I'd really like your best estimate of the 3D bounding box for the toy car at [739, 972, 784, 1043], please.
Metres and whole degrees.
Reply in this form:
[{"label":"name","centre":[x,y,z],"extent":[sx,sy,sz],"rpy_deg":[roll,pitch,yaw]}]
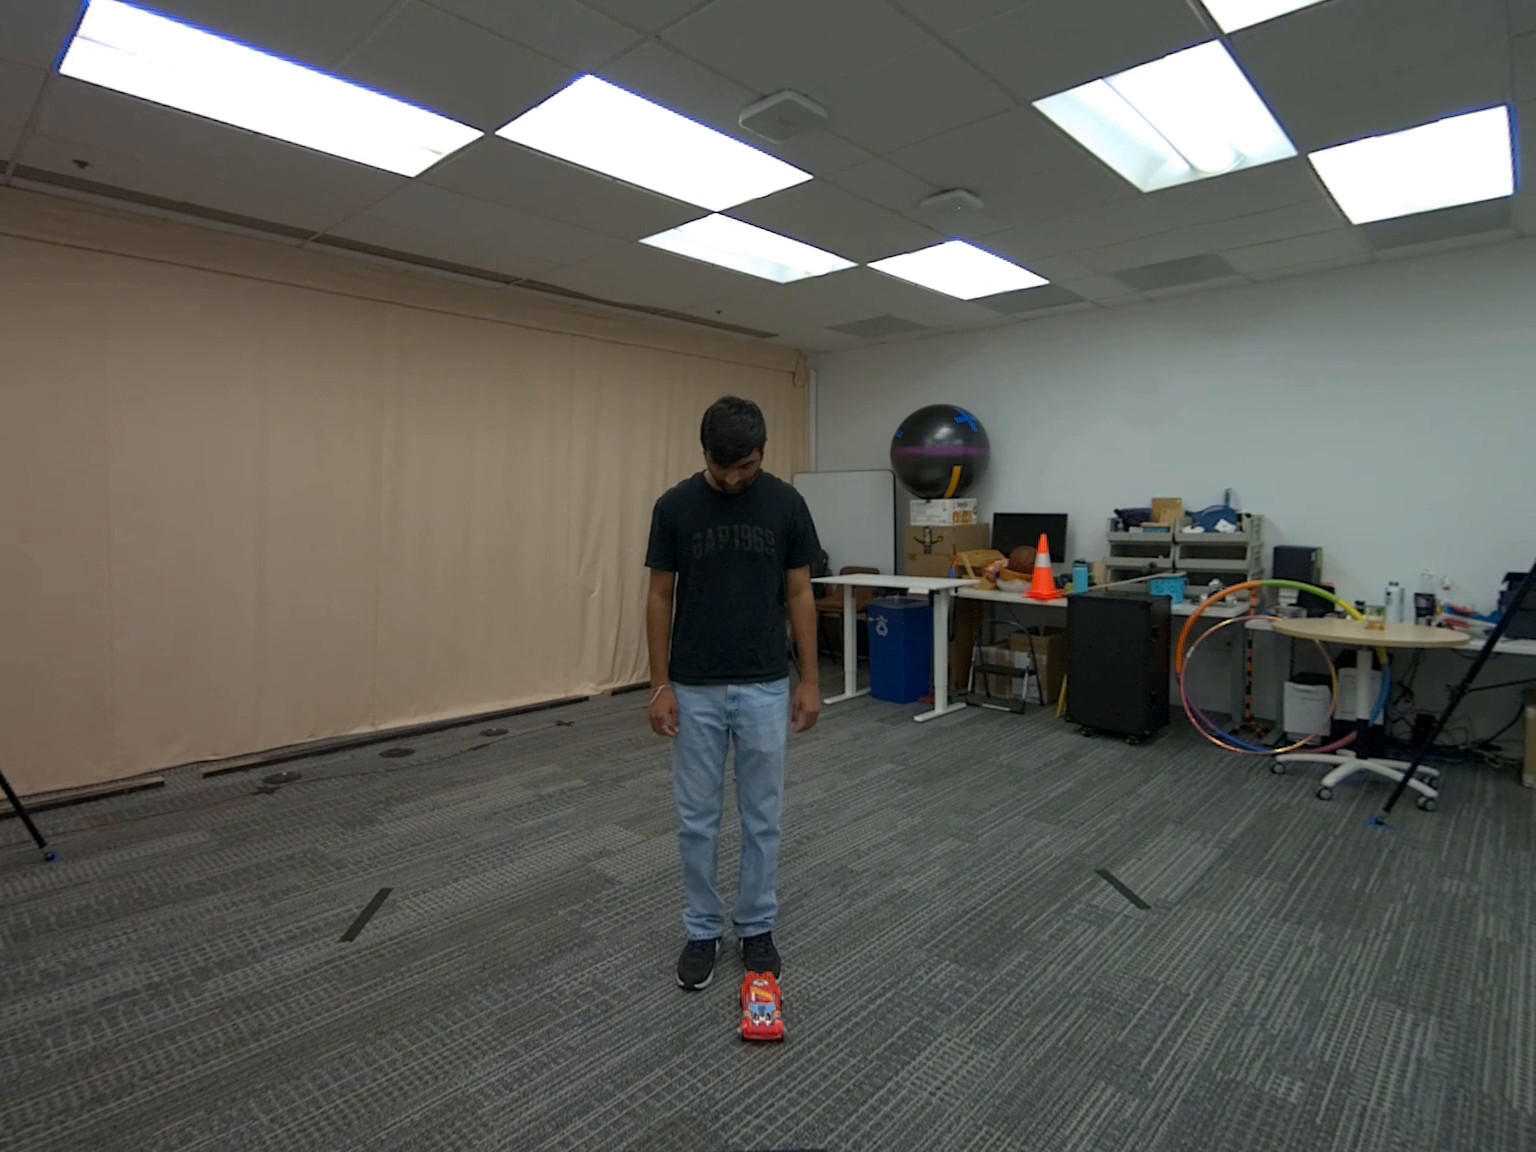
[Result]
[{"label":"toy car","centre":[-0.020,1.162,2.292],"extent":[0.130,0.082,0.257],"rpy_deg":[-1,16,-1]}]
